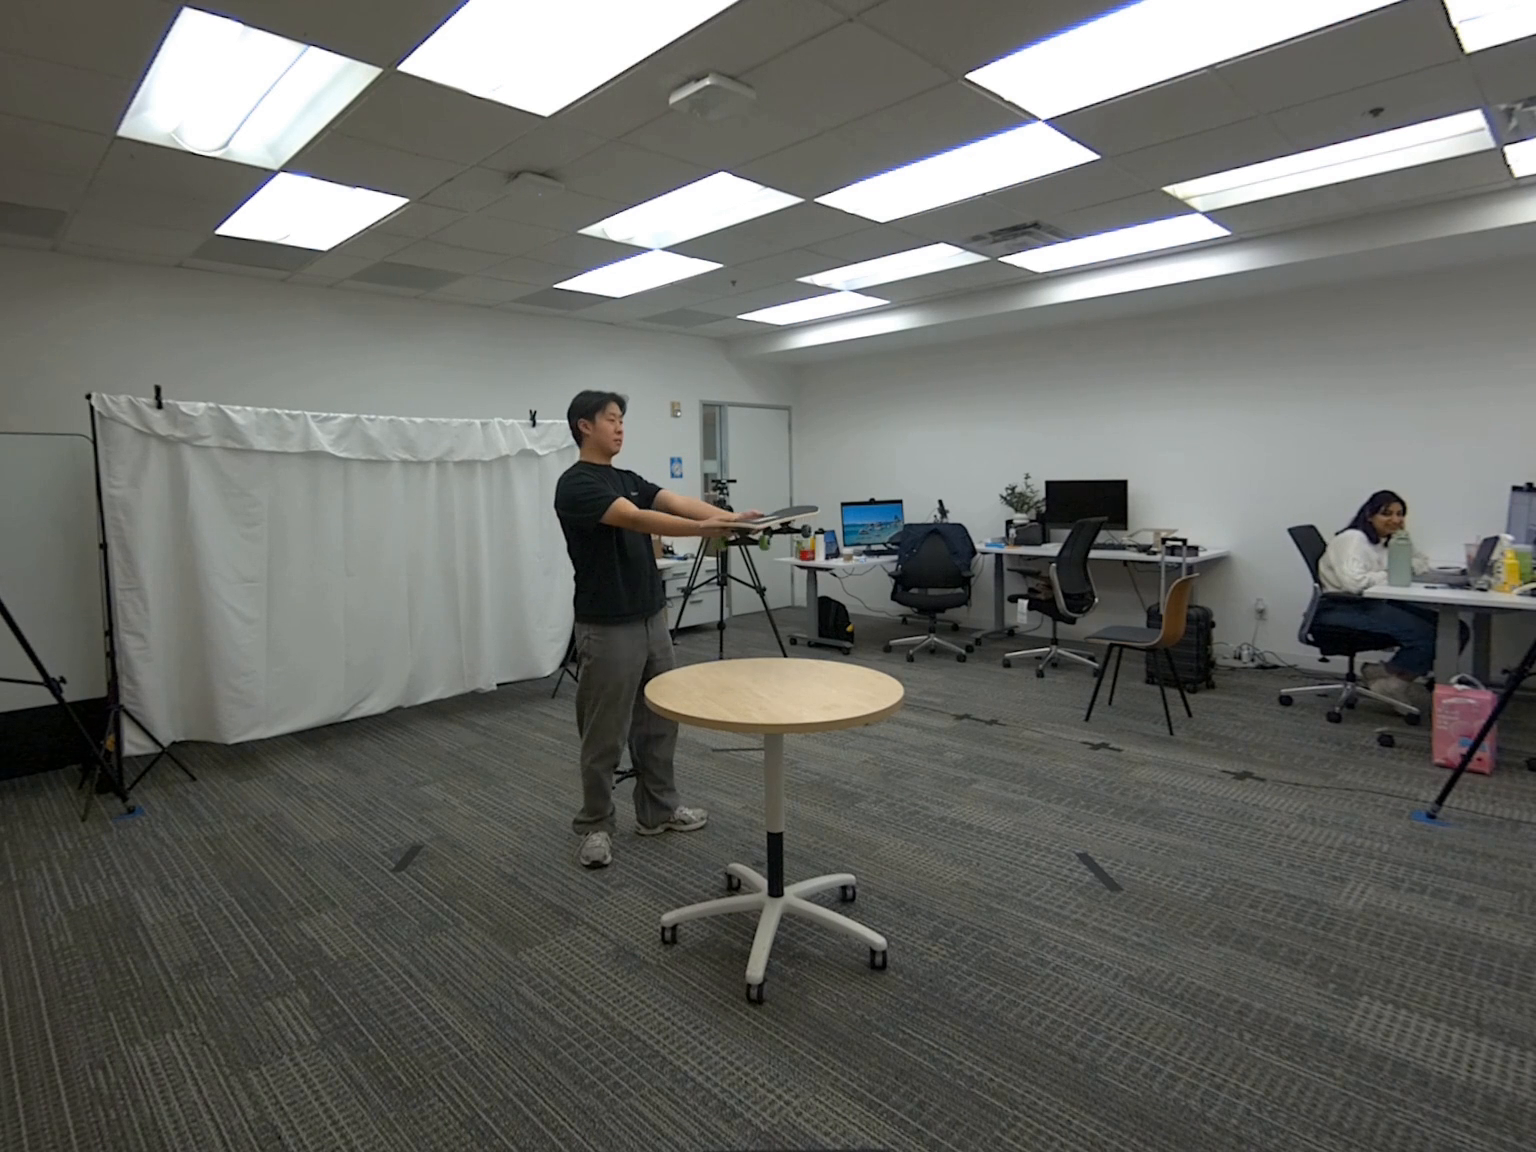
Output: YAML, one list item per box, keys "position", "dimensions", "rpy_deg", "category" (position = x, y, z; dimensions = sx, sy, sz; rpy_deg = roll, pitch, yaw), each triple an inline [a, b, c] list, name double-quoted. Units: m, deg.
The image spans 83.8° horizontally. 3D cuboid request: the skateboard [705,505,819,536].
- position: [-0.006, -0.166, 2.966]
  dimensions: [0.198, 0.109, 0.772]
  rpy_deg: [2, 11, 27]
  category: "skateboard"
